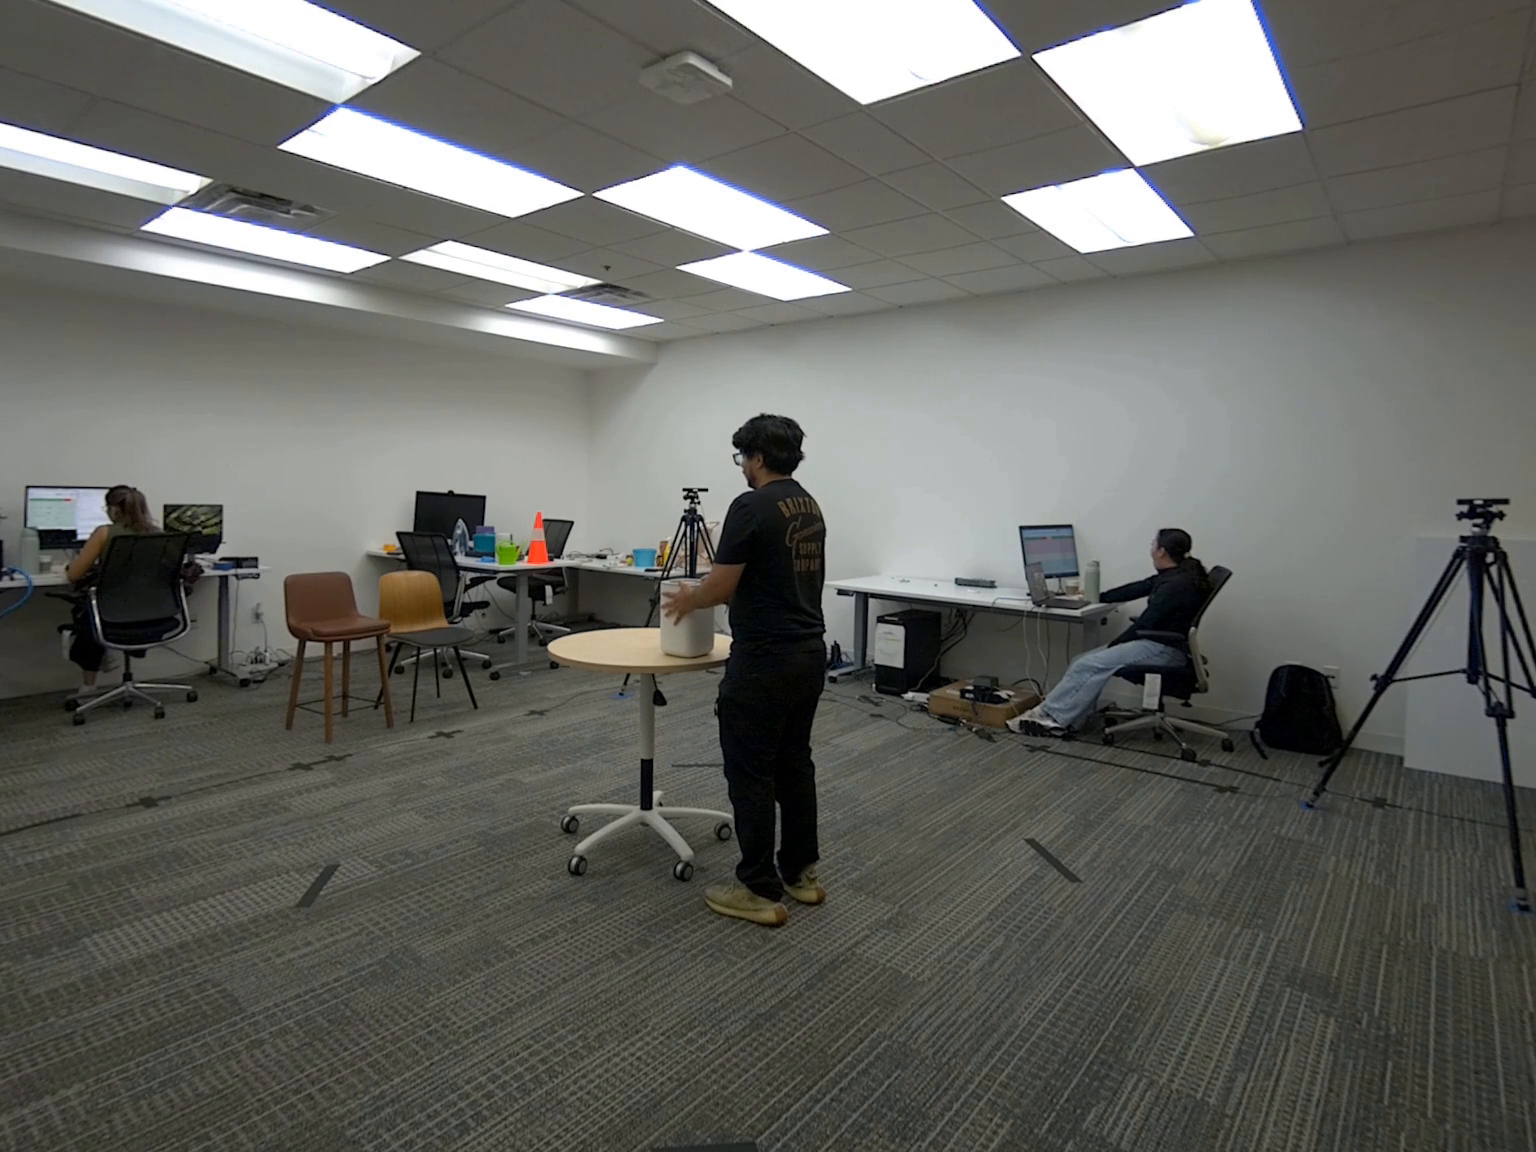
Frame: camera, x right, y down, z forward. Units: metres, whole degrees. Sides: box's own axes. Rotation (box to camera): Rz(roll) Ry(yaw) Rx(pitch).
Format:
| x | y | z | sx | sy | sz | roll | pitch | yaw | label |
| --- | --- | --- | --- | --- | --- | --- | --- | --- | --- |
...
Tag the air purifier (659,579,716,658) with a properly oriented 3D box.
| x | y | z | sx | sy | sz | roll | pitch | yaw | label |
| --- | --- | --- | --- | --- | --- | --- | --- | --- | --- |
| -0.305 | 0.149 | 3.120 | 0.176 | 0.264 | 0.167 | 5 | 5 | 34 | air purifier |
